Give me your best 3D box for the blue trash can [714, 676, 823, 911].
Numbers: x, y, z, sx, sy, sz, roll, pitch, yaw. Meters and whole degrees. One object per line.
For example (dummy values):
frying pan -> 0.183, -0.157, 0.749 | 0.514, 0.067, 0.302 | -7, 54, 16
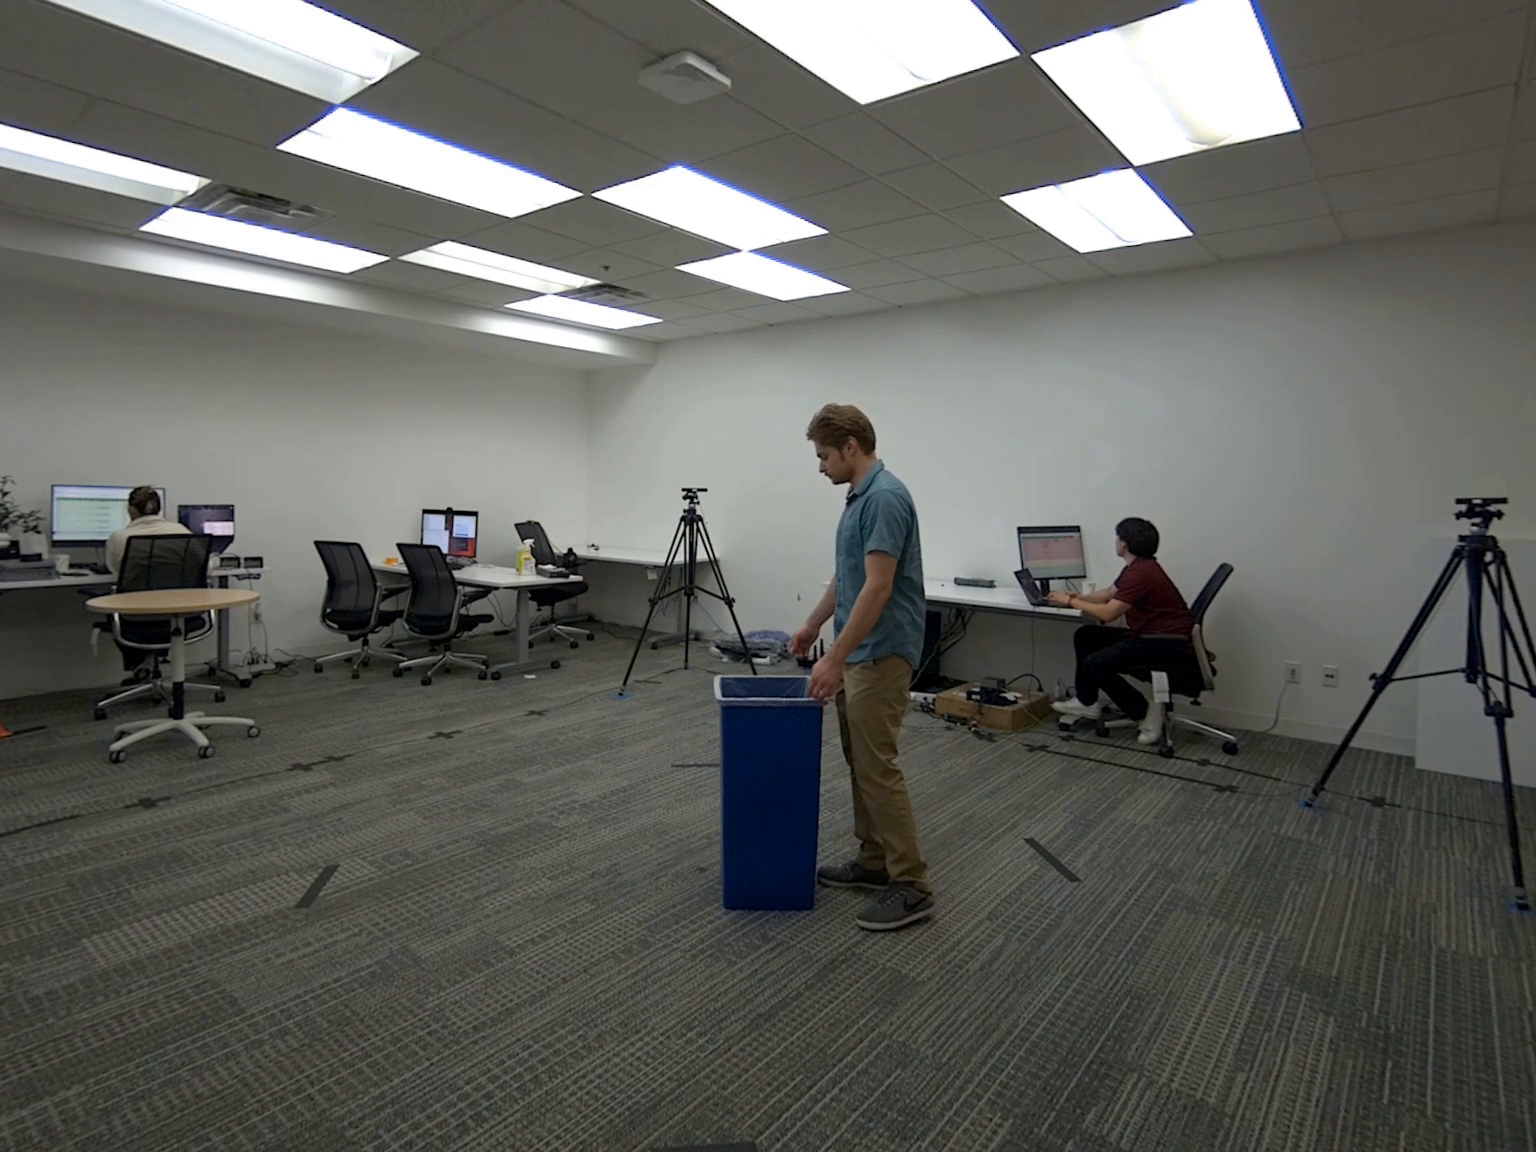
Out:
blue trash can -> -0.013, 0.736, 2.956 | 0.377, 0.711, 0.377 | 0, 3, -4
